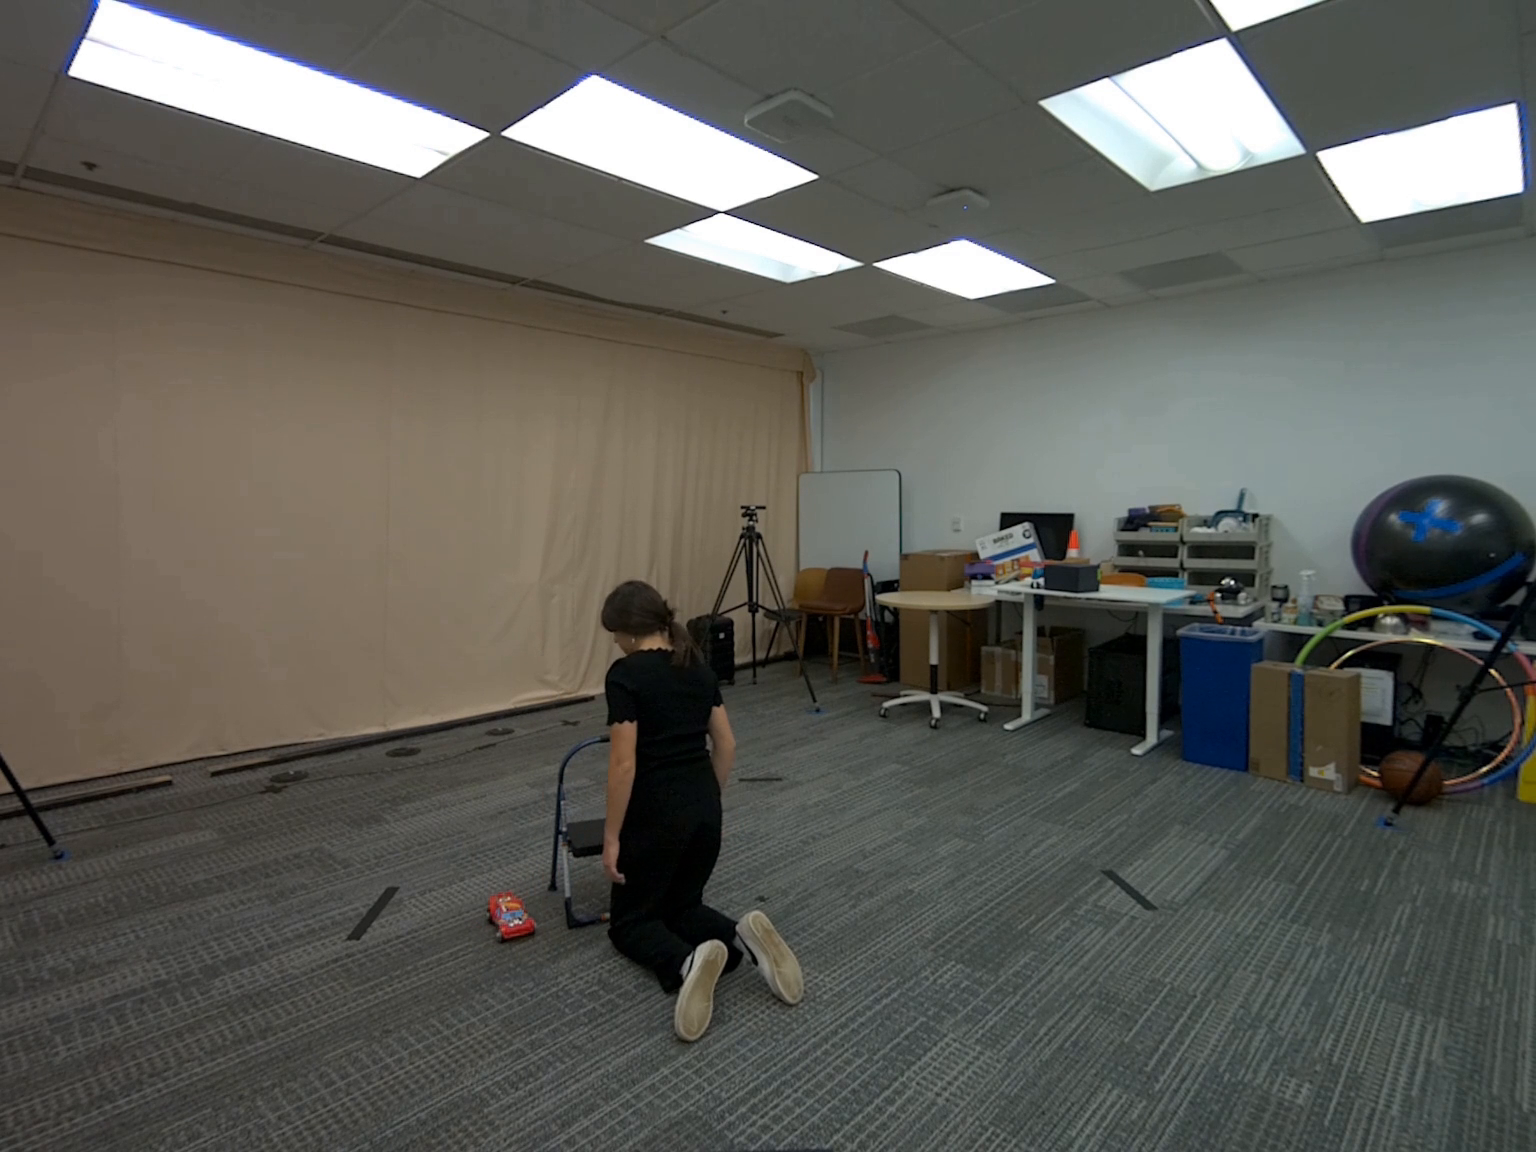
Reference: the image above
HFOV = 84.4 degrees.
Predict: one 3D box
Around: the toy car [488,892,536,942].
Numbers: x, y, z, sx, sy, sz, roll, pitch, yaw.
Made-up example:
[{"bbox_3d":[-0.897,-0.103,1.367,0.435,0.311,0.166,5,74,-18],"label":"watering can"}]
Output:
[{"bbox_3d":[-0.865,1.142,2.799,0.127,0.082,0.263,-6,16,-29],"label":"toy car"}]
